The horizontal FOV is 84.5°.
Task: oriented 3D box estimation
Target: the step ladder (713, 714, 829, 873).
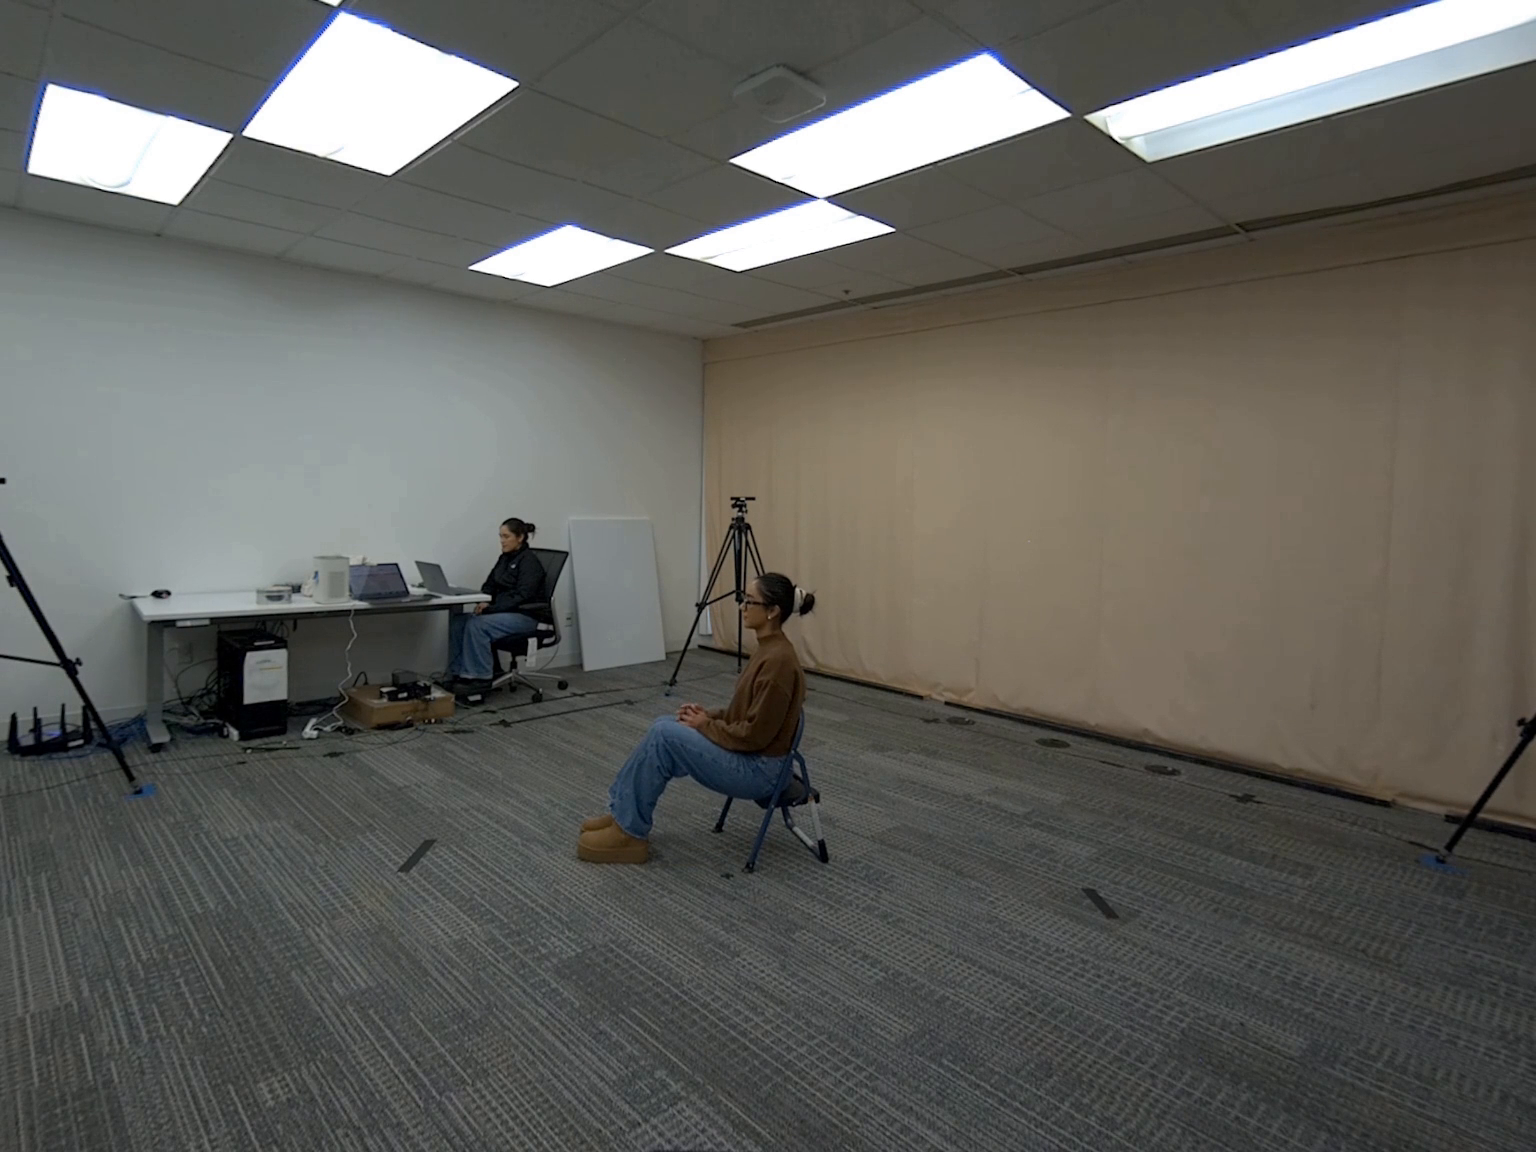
[{"bbox_3d":[0.006,0.792,3.364,0.344,0.604,0.438,0,4,-20],"label":"step ladder"}]
